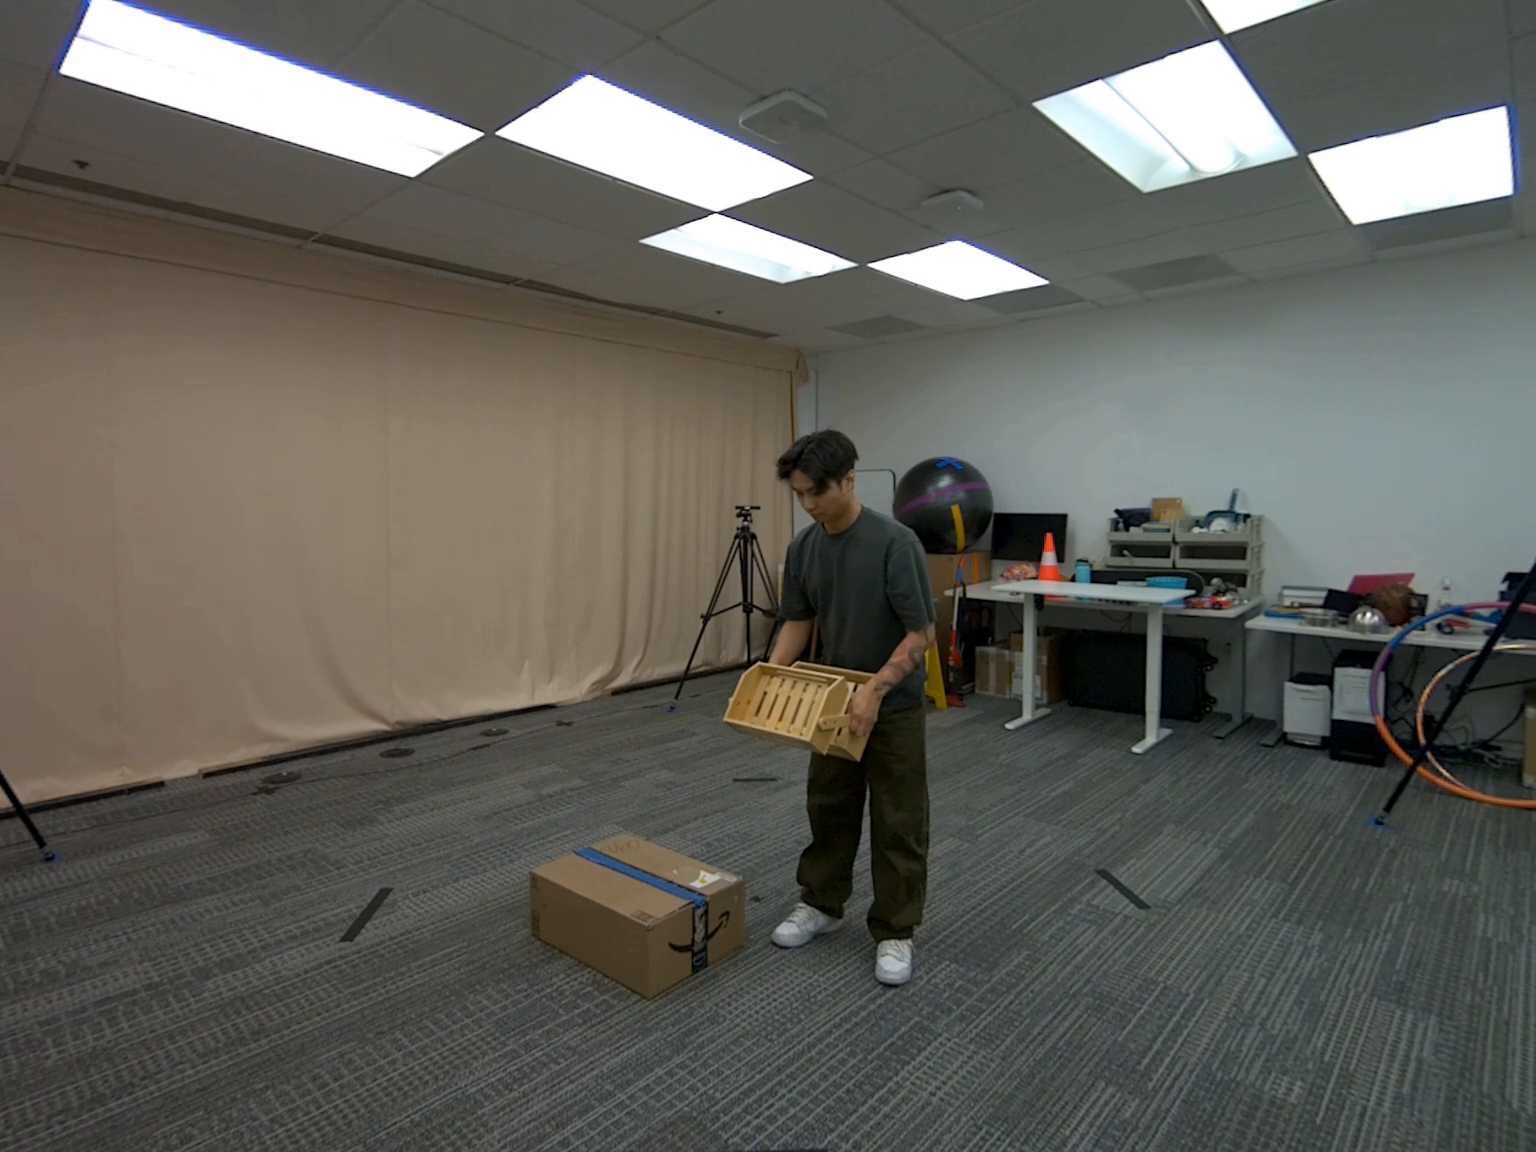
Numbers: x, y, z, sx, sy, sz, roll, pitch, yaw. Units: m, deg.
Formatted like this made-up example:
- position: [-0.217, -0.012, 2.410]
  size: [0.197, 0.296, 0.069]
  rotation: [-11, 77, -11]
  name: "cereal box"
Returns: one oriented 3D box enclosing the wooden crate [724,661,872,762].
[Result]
- position: [0.116, 0.359, 2.413]
  size: [0.335, 0.303, 0.264]
  rotation: [3, -31, 40]
  name: "wooden crate"
